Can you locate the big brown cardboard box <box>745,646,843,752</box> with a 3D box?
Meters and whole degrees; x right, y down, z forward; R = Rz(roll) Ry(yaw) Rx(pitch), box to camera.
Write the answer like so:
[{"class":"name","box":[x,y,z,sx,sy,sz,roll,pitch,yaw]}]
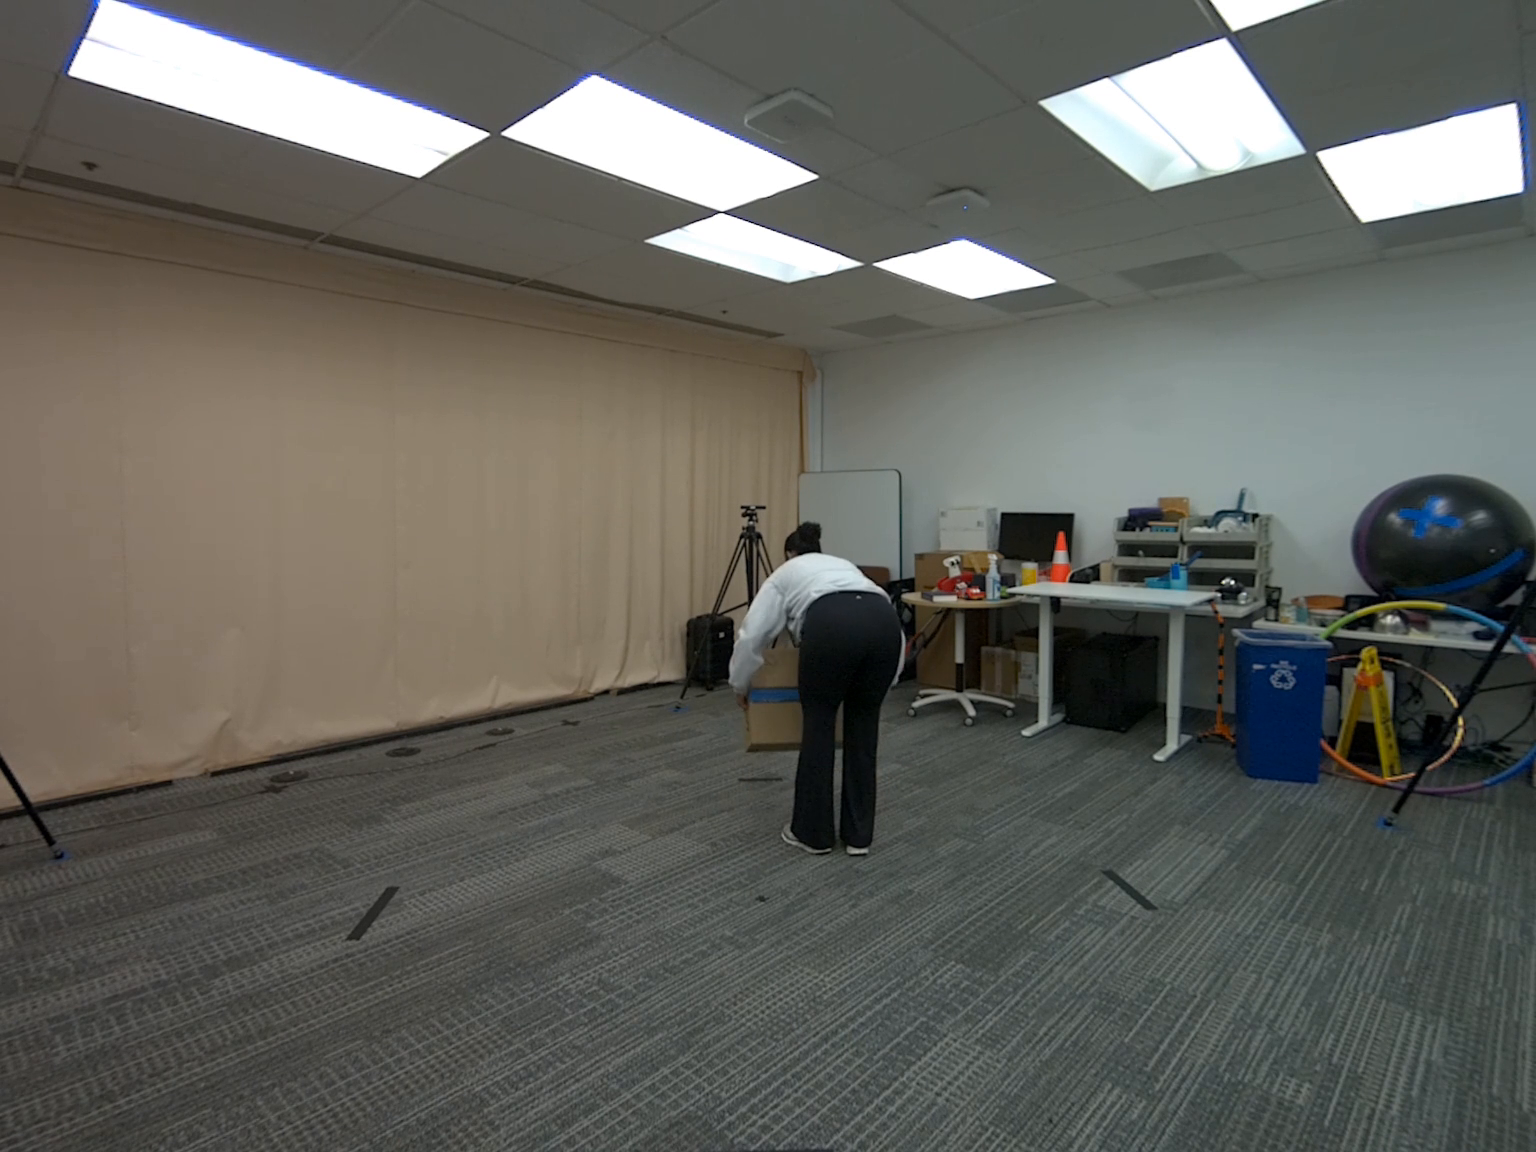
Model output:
[{"class":"big brown cardboard box","box":[0.185,0.546,3.755,0.586,0.423,0.231,-2,-21,-4]}]
